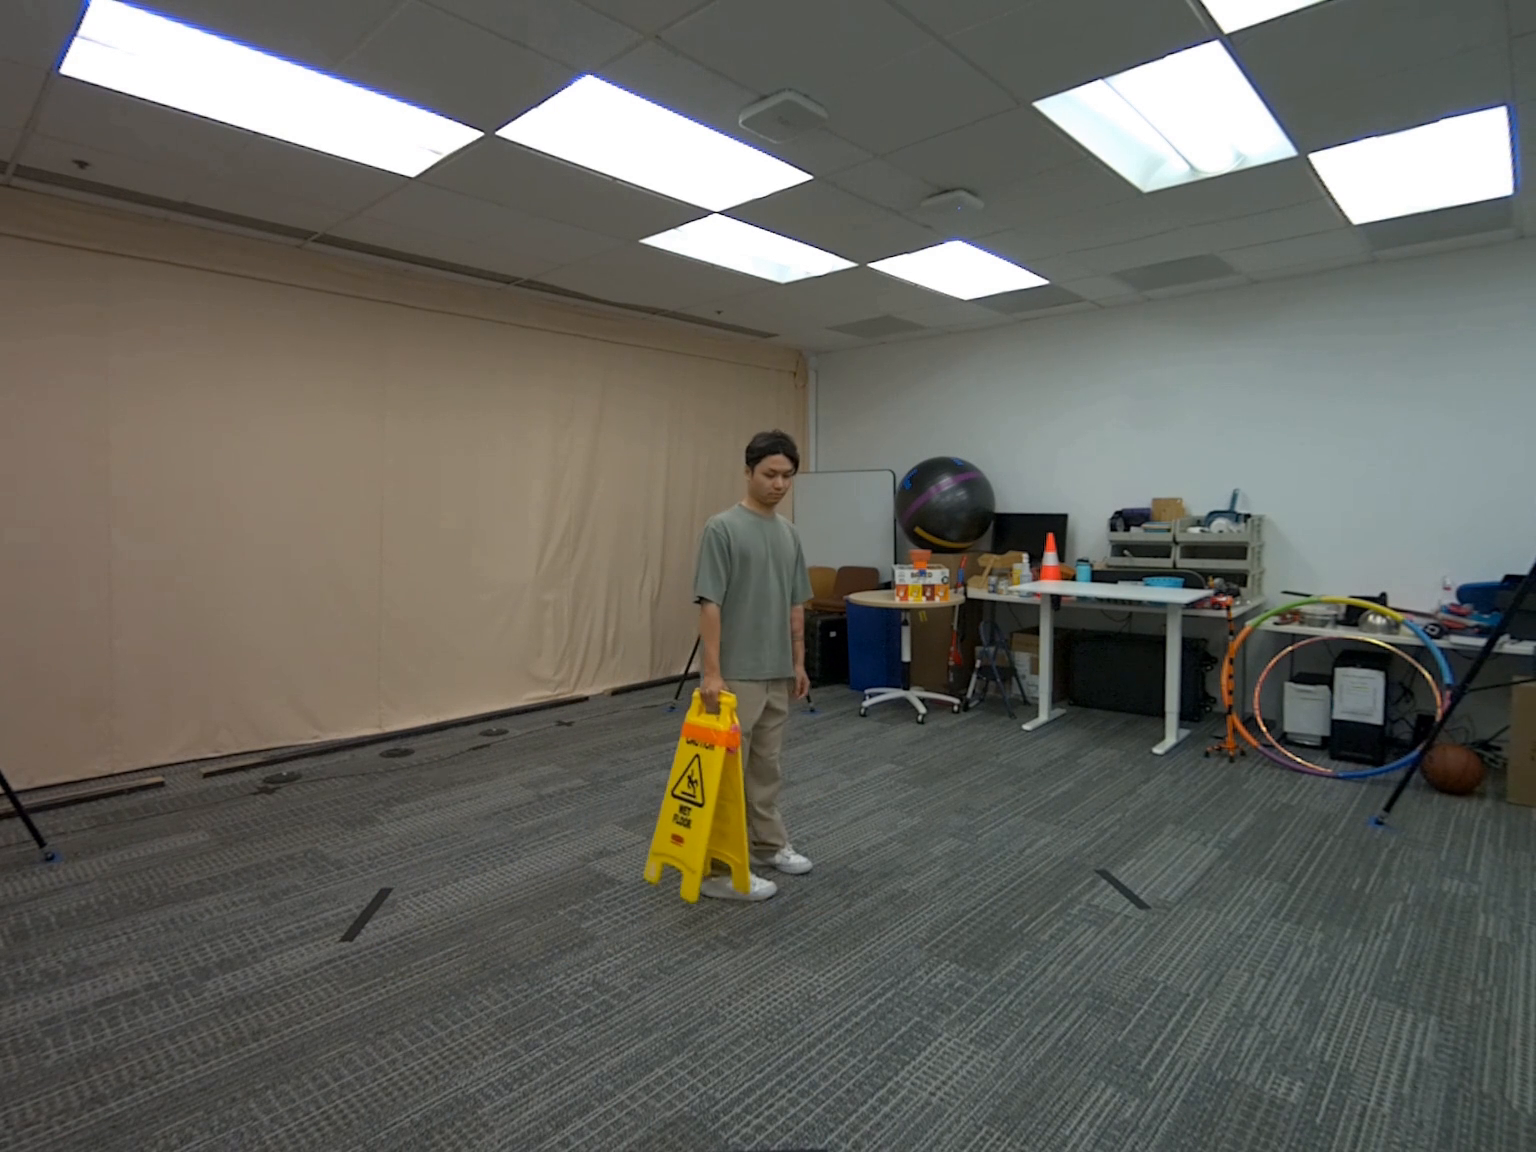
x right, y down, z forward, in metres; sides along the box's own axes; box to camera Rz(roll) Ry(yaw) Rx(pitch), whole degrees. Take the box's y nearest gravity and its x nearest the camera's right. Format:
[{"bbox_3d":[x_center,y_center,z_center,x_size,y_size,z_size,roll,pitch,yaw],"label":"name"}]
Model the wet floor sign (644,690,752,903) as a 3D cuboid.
[{"bbox_3d":[-0.200,0.715,2.855,0.280,0.647,0.291,9,-5,-43],"label":"wet floor sign"}]
